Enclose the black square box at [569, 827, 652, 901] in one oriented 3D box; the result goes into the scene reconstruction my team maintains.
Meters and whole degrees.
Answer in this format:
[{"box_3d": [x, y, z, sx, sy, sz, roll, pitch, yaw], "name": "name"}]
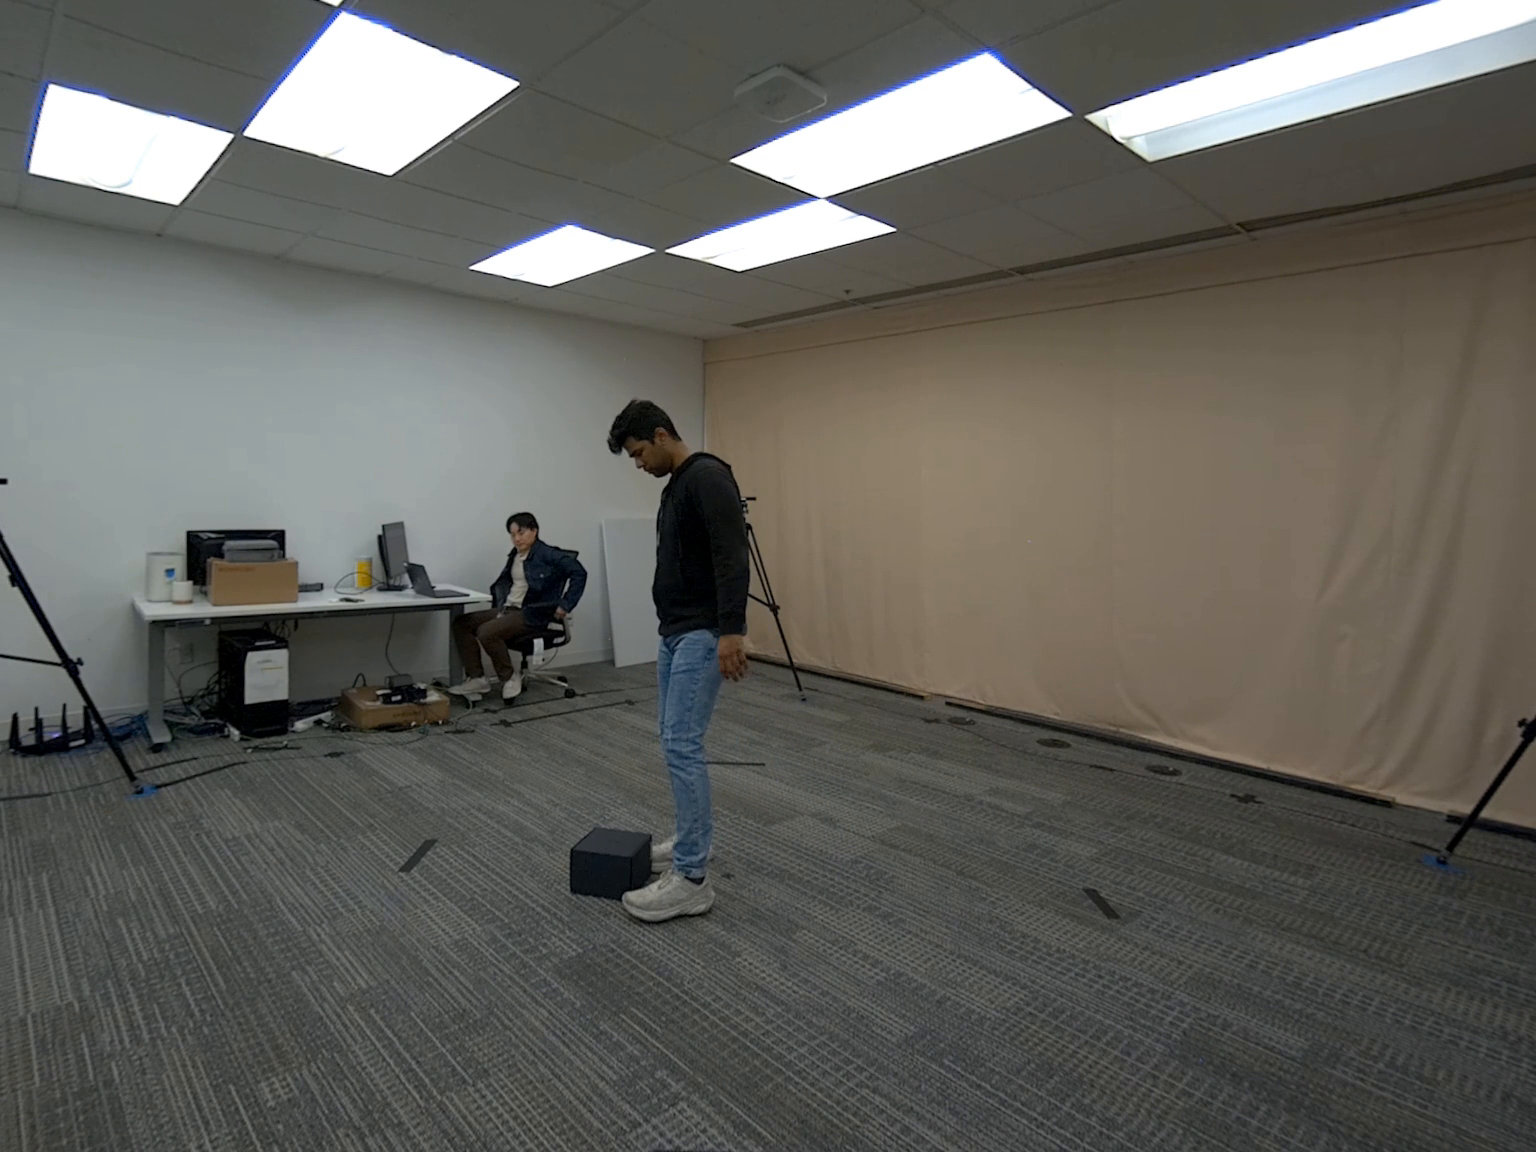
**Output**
[{"box_3d": [-0.557, 1.022, 2.998, 0.231, 0.155, 0.215, 3, 5, 14], "name": "black square box"}]
